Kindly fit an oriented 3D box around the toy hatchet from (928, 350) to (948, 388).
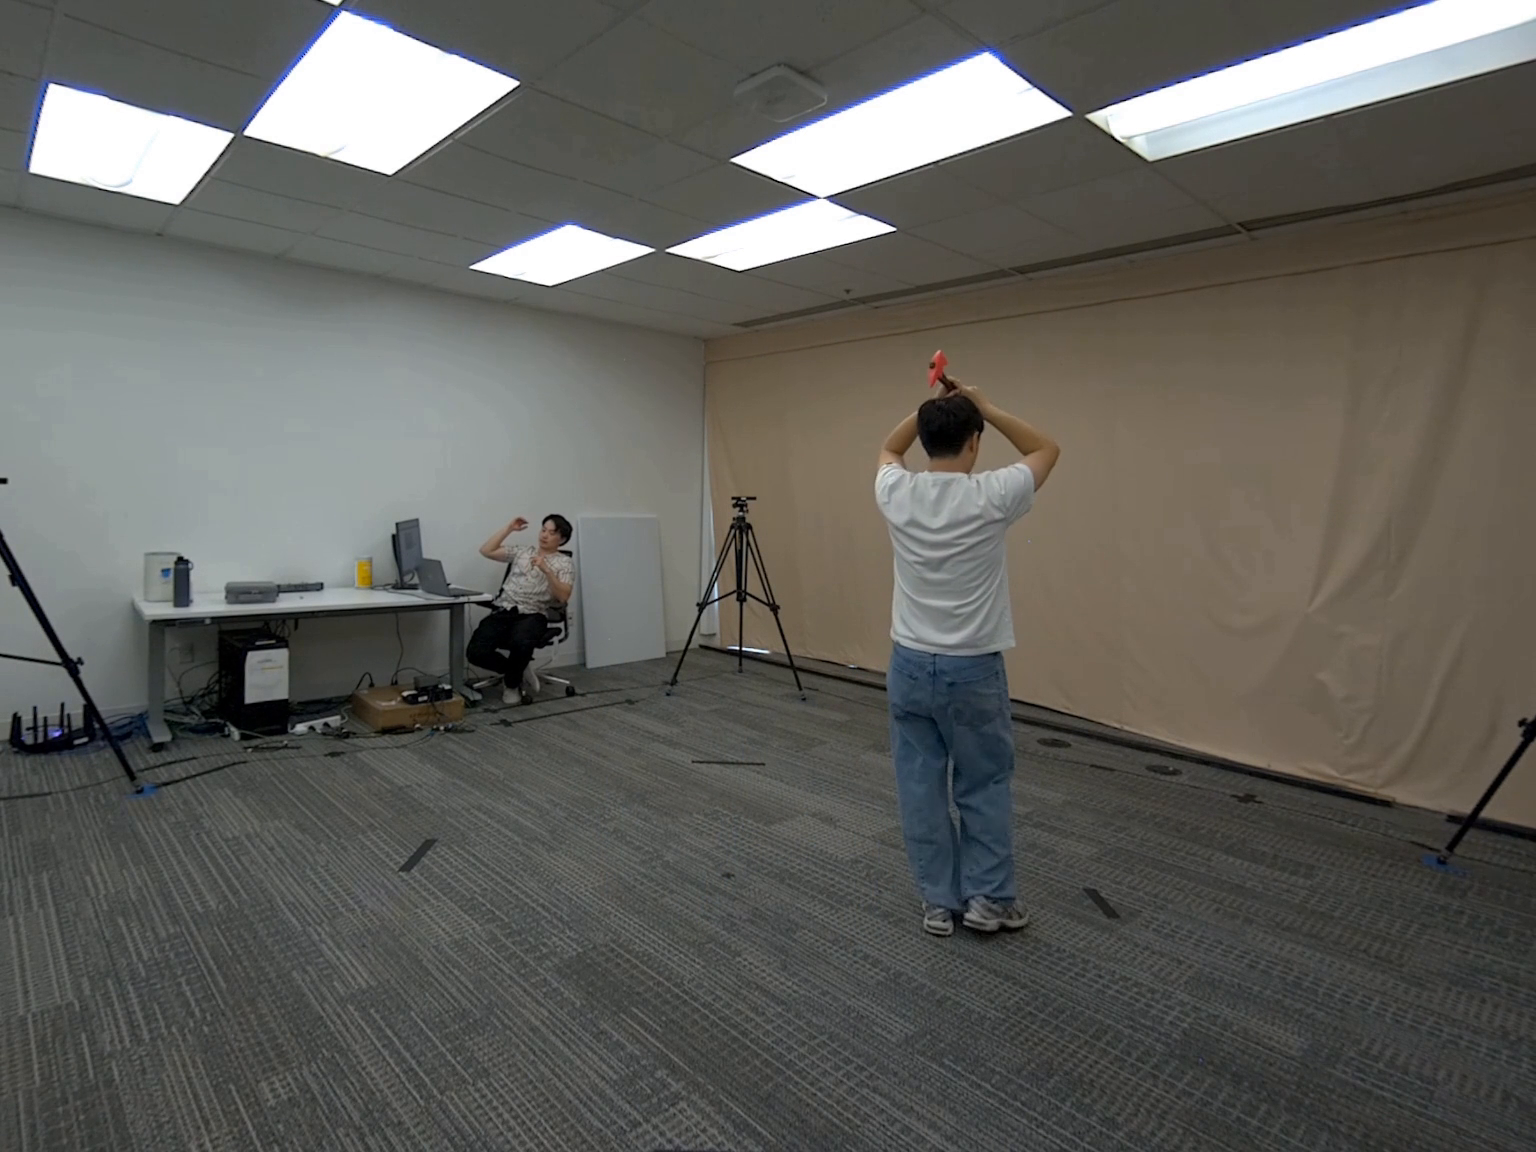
[{"bbox_3d":[0.593,-0.648,2.738,0.030,0.131,0.263,-3,-5,44],"label":"toy hatchet"}]
